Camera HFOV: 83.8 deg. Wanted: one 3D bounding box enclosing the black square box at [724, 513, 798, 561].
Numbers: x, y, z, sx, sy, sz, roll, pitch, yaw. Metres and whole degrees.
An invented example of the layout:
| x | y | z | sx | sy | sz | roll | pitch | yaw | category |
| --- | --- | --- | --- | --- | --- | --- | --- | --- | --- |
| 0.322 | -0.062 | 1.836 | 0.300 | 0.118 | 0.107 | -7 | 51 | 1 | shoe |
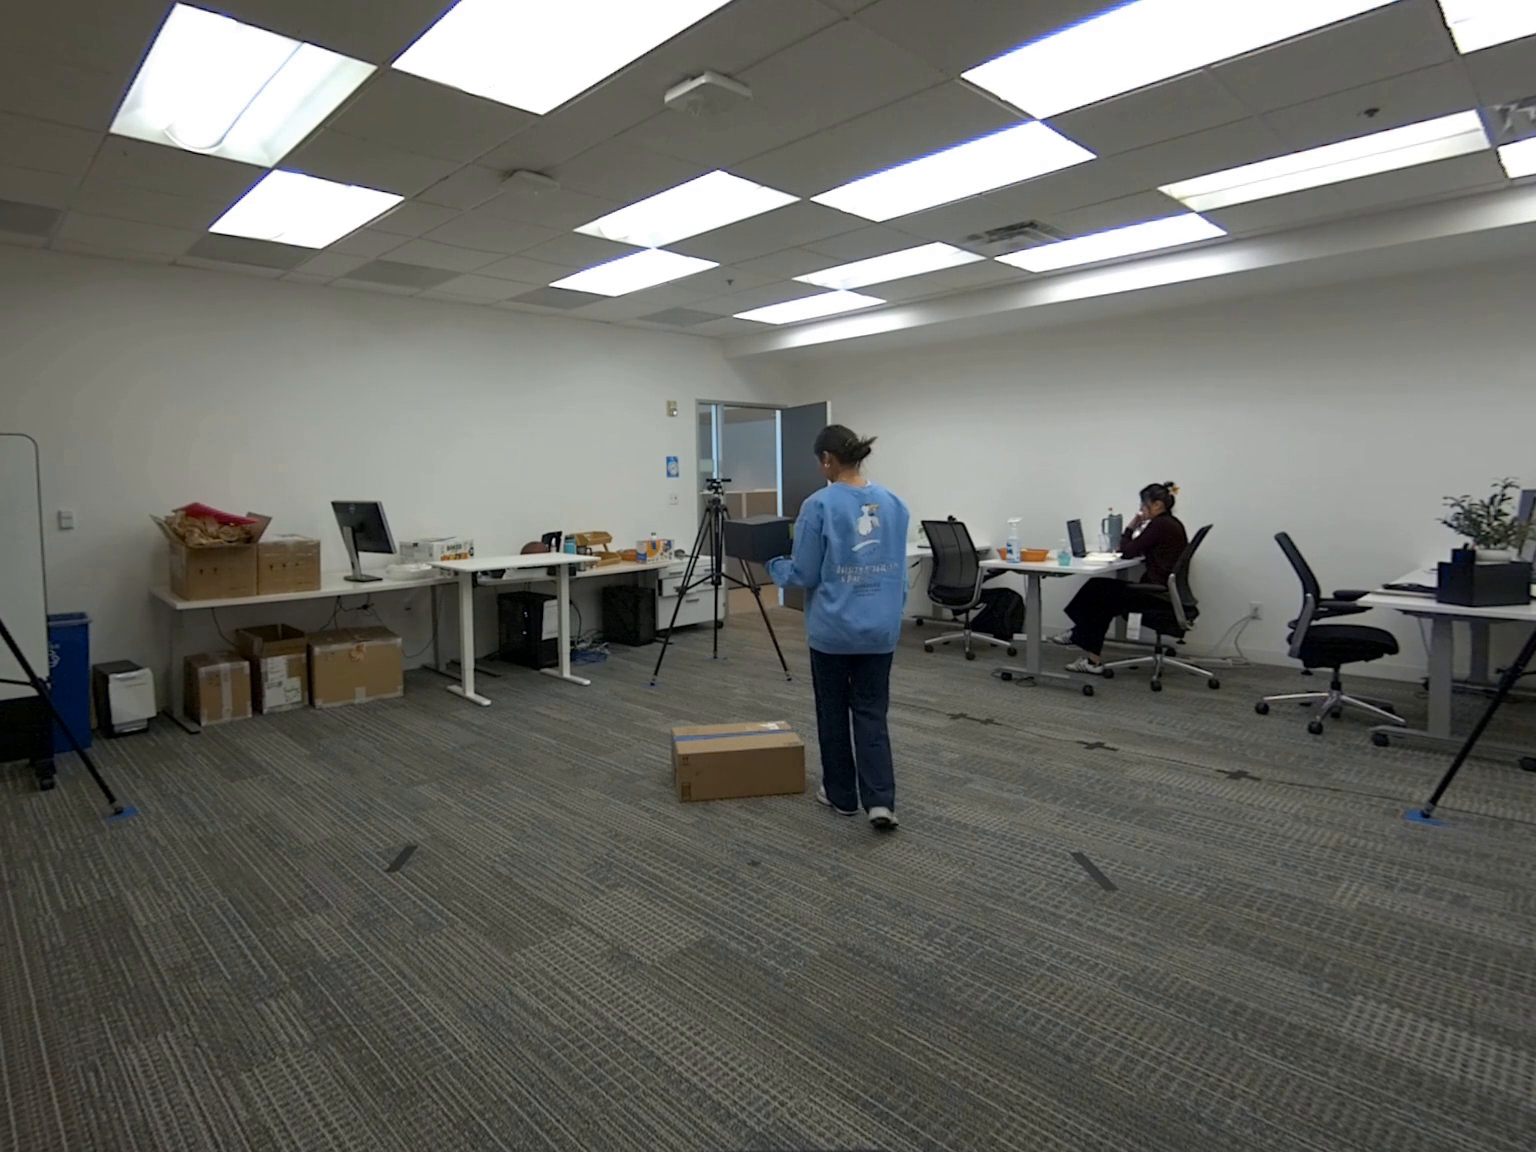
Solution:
| x | y | z | sx | sy | sz | roll | pitch | yaw | category |
| --- | --- | --- | --- | --- | --- | --- | --- | --- | --- |
| -0.030 | -0.172 | 3.647 | 0.212 | 0.154 | 0.235 | -9 | 11 | -33 | black square box |
